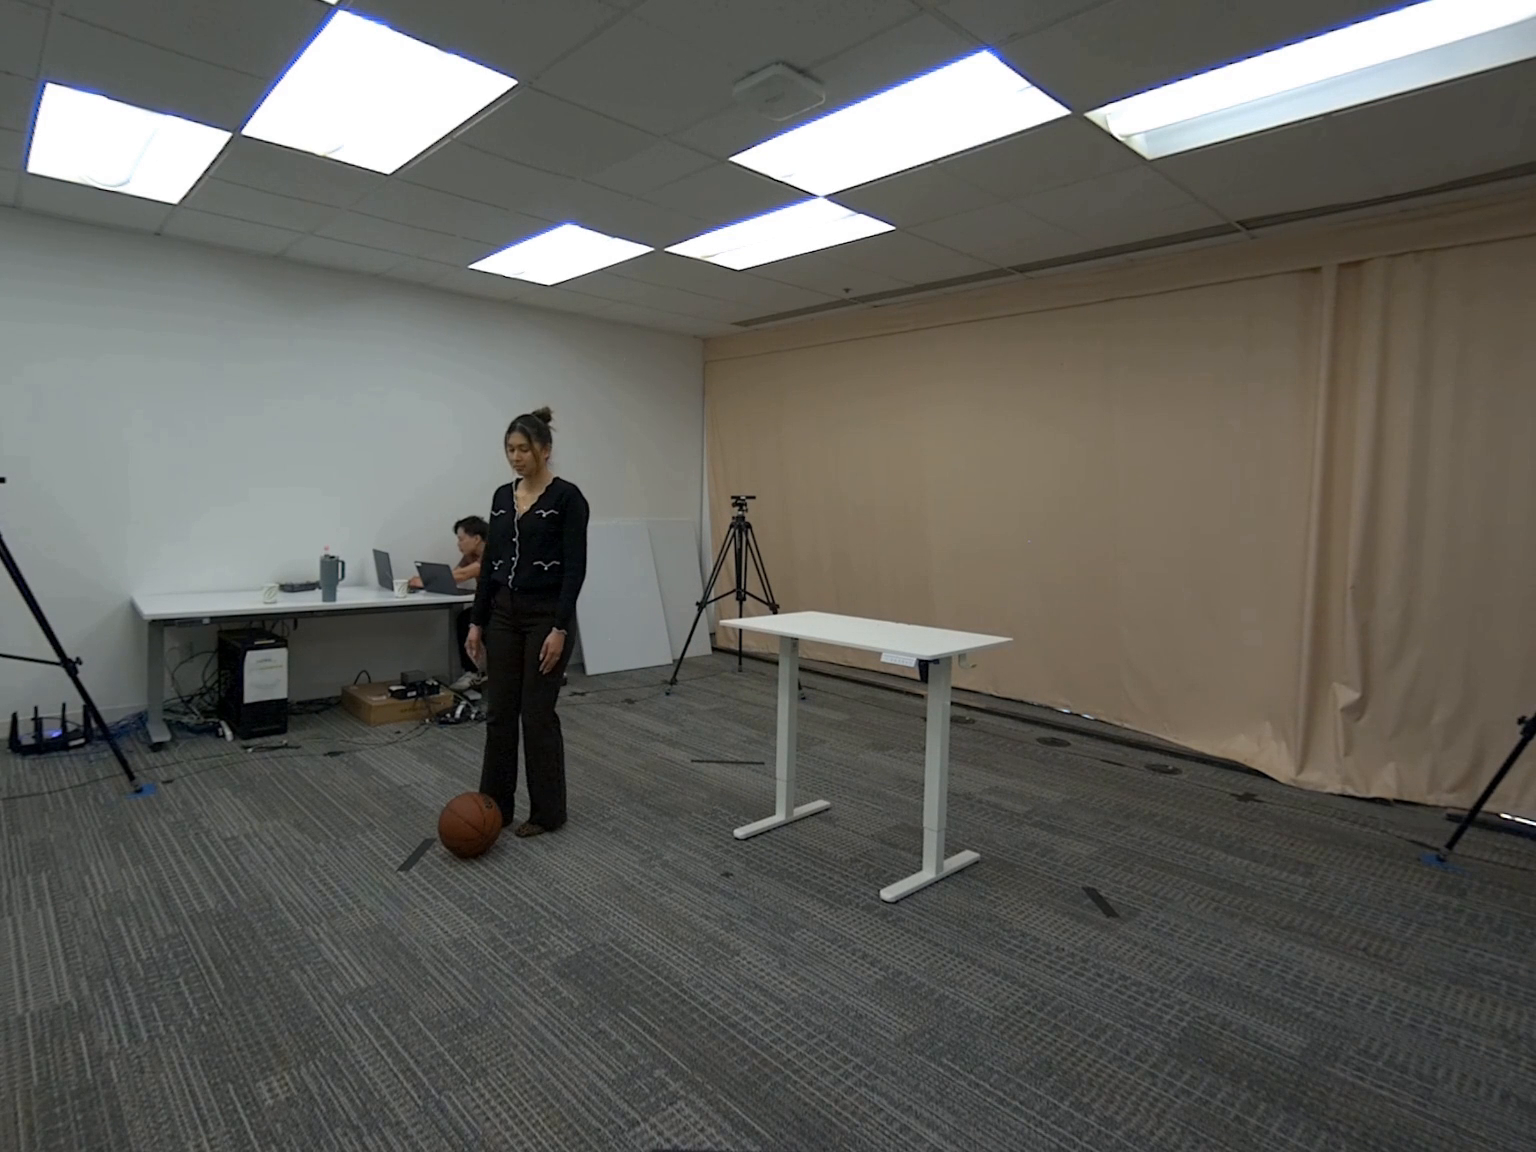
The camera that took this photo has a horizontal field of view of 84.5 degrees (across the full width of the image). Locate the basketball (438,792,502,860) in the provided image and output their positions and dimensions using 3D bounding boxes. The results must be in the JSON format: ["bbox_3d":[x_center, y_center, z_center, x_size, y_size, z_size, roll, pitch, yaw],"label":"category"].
[{"bbox_3d":[-1.166,0.959,3.231,0.236,0.235,0.237,1,4,-1],"label":"basketball"}]
